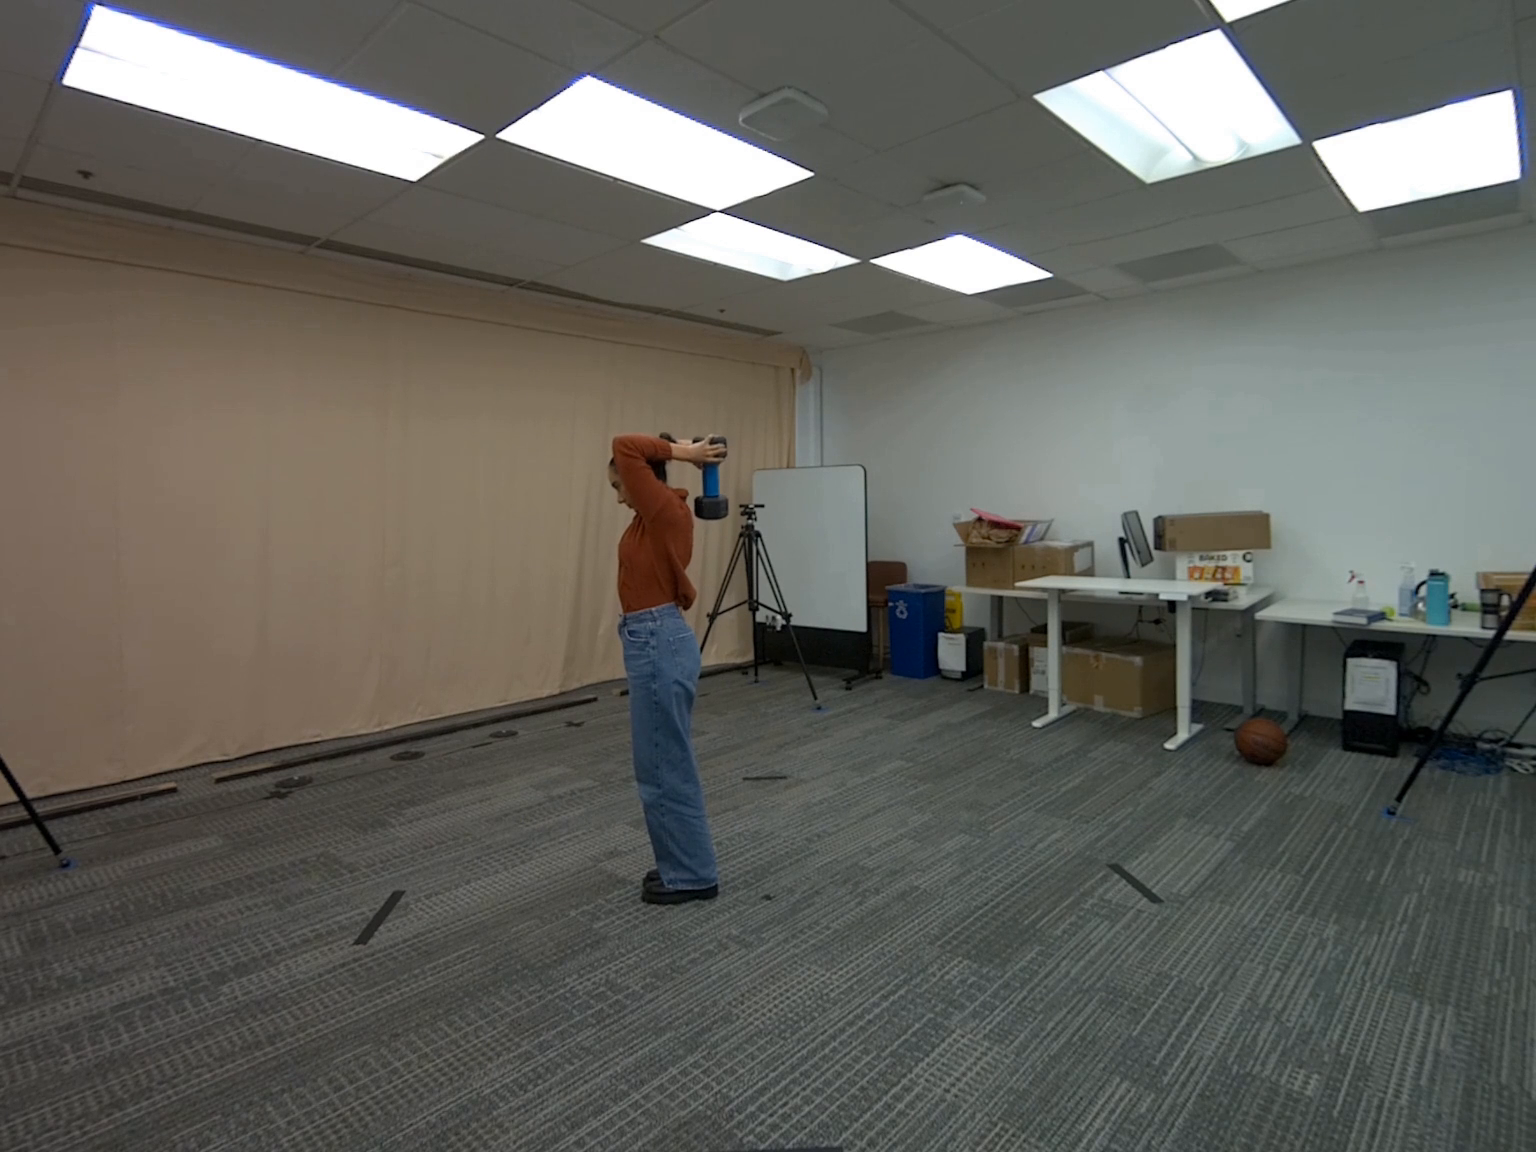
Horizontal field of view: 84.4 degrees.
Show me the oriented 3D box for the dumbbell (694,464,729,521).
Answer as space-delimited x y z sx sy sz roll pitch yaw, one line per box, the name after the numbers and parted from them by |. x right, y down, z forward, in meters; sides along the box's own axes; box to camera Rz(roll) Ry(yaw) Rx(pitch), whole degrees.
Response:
-0.208 -0.351 2.991 0.122 0.291 0.110 -3 12 -4 | dumbbell
